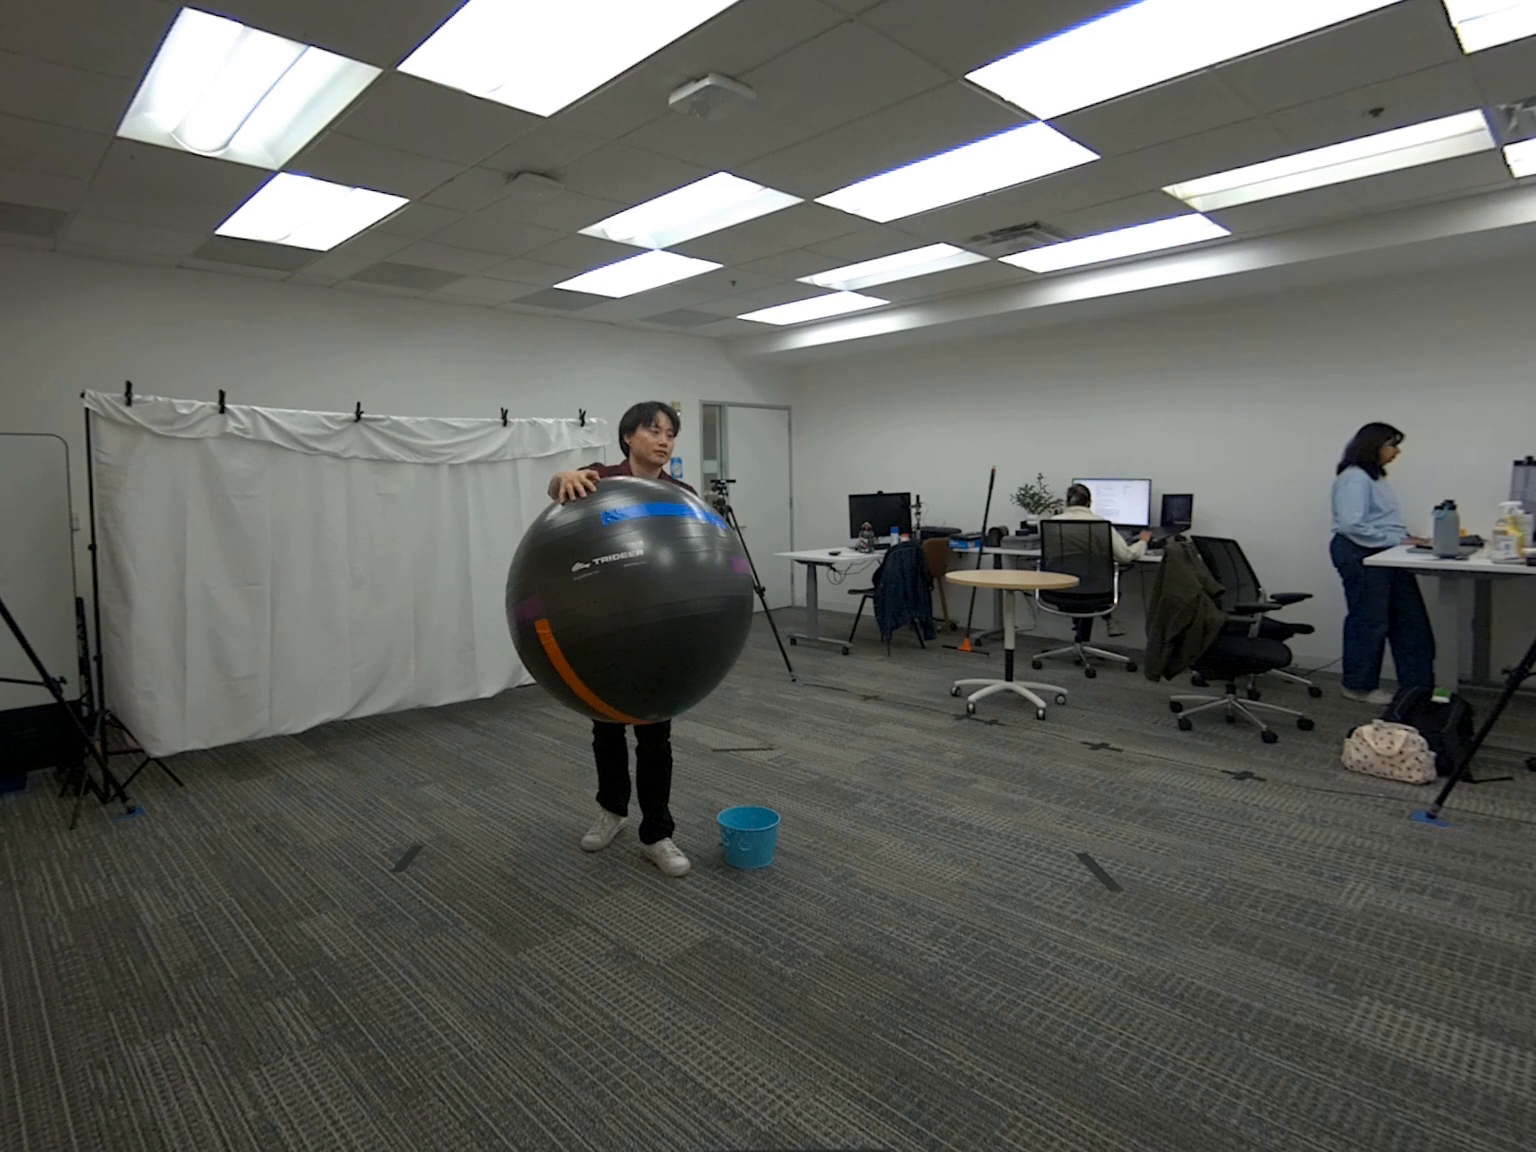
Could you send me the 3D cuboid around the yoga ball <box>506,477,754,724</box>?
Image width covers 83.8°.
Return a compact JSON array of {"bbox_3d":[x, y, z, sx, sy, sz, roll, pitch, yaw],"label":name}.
[{"bbox_3d":[-0.434,0.080,2.644,0.757,0.755,0.762,-1,5,-2],"label":"yoga ball"}]
